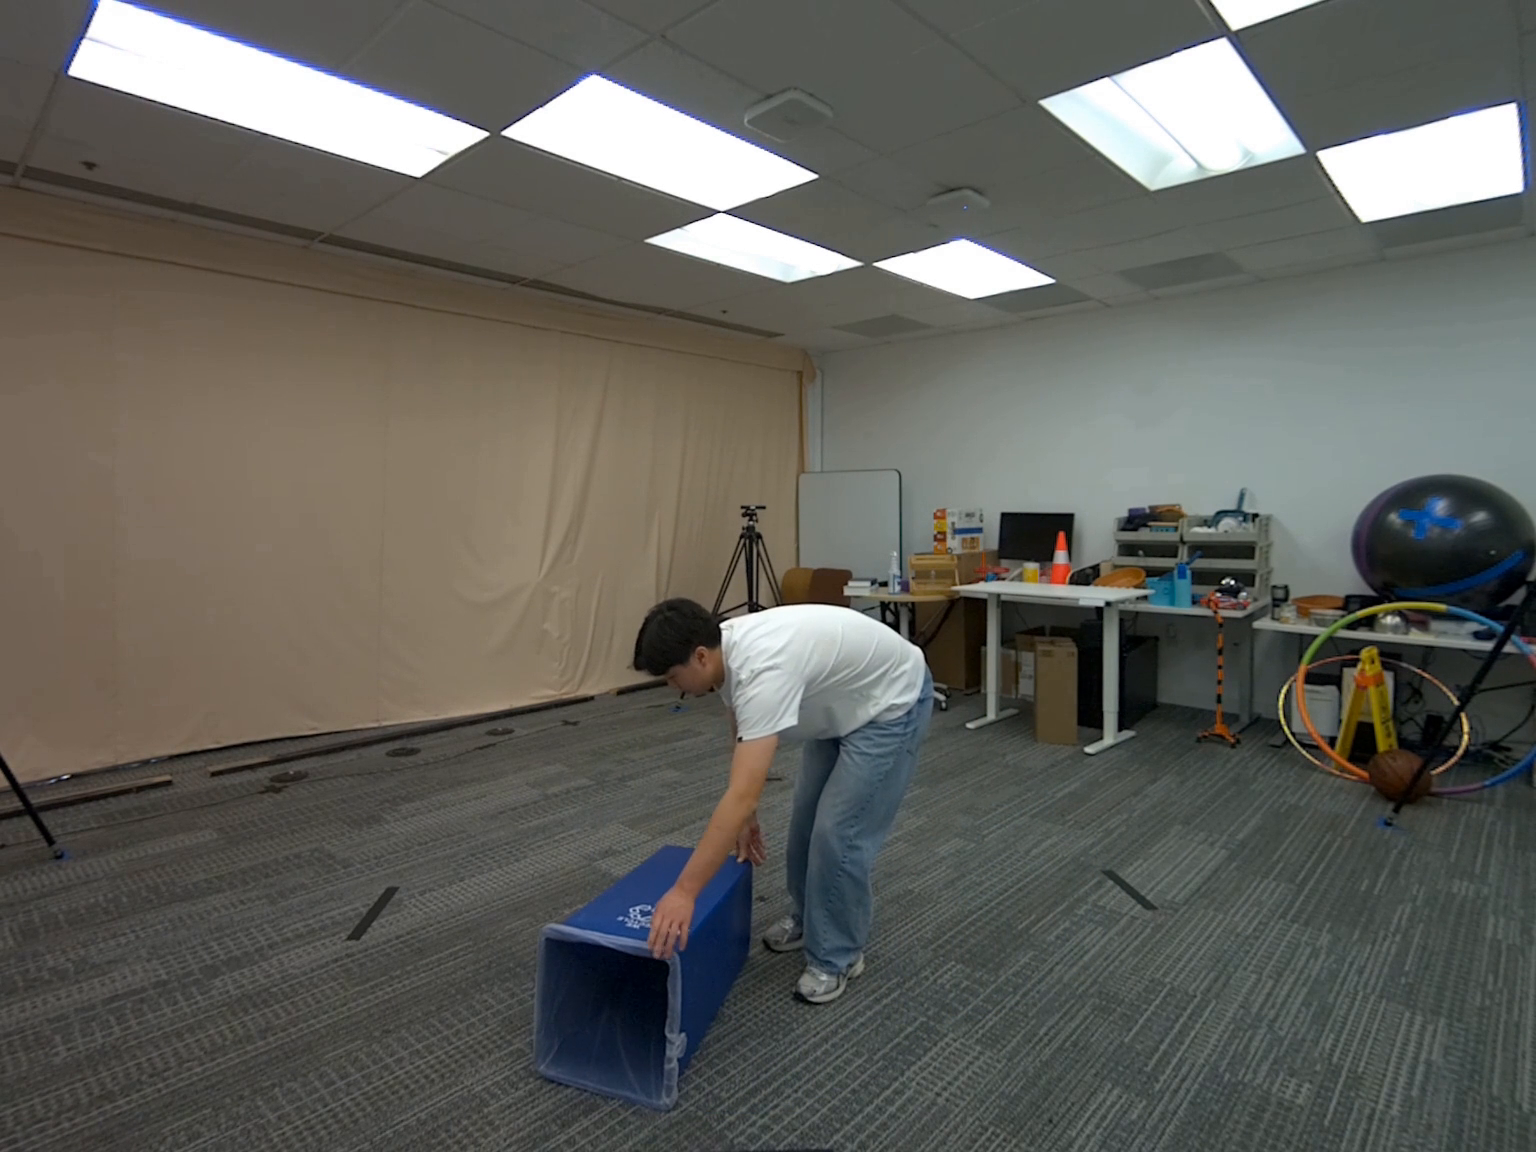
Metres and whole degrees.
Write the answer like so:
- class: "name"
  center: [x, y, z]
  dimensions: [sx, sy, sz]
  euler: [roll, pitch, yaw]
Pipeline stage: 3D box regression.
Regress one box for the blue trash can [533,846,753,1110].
- class: "blue trash can"
  center: [-0.298, 1.033, 2.317]
  dimensions: [0.381, 0.378, 0.700]
  euler: [3, 1, 16]
